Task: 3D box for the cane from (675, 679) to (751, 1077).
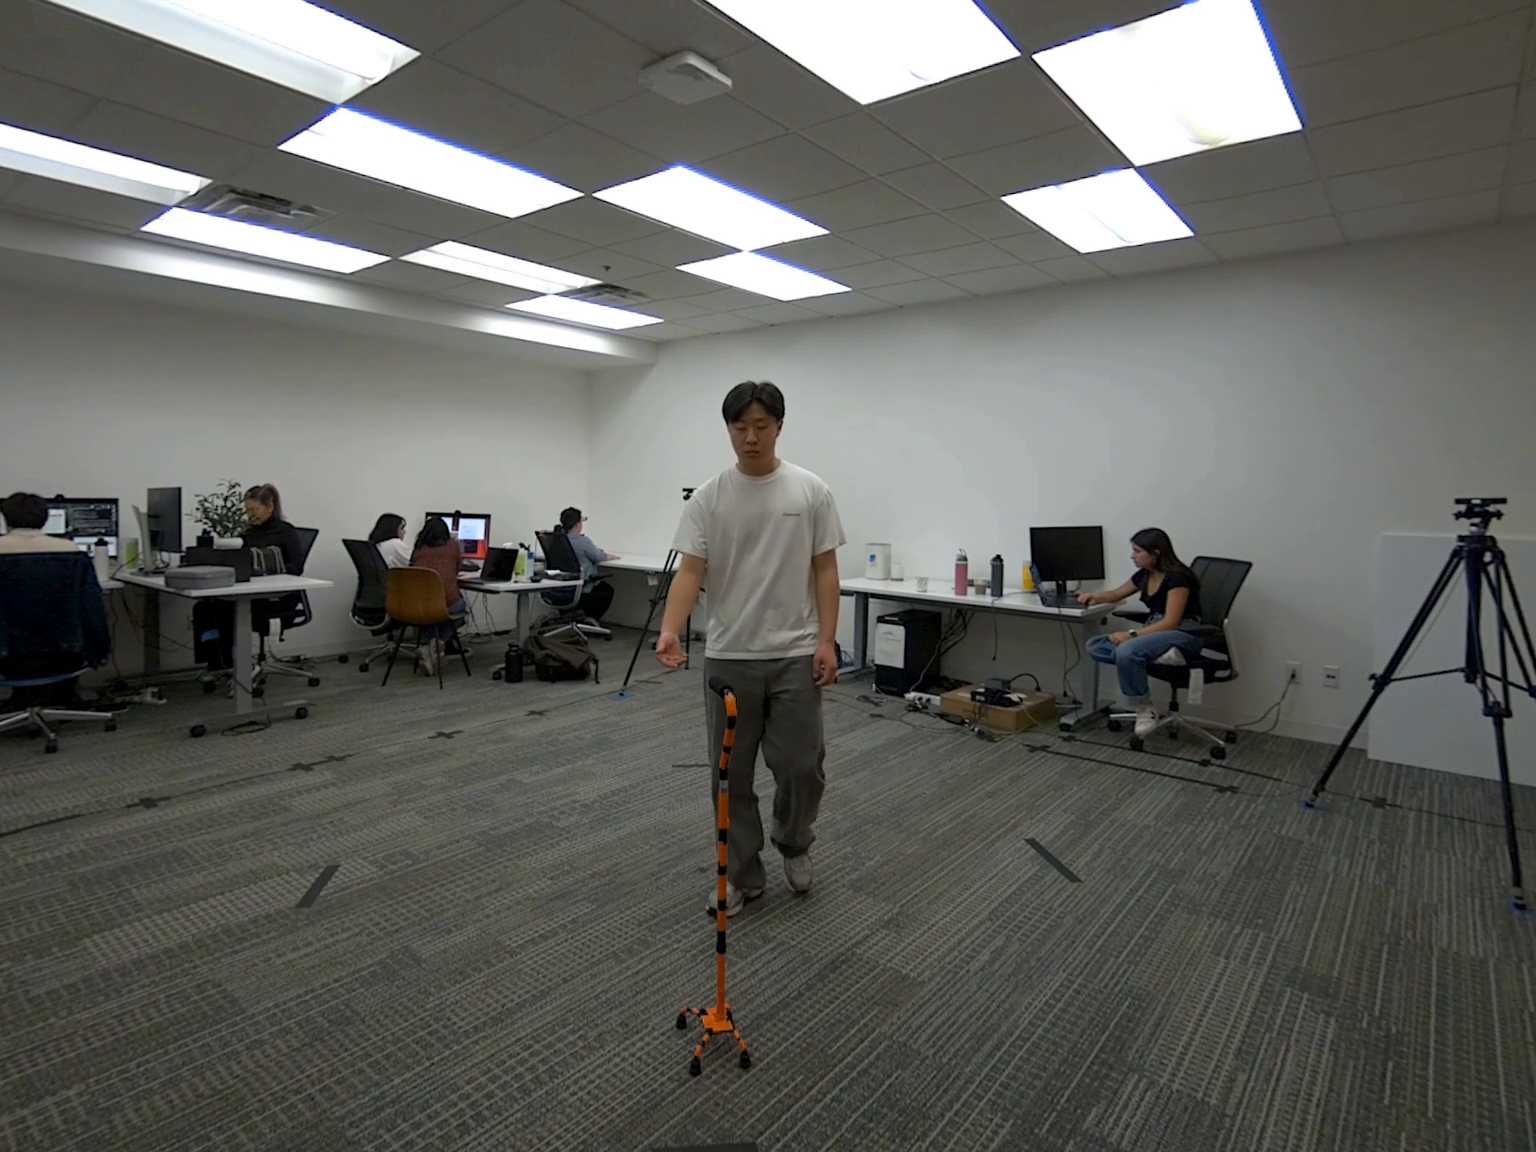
[{"bbox_3d":[-0.128,0.715,2.107,0.149,0.905,0.210,1,3,-16],"label":"cane"}]
